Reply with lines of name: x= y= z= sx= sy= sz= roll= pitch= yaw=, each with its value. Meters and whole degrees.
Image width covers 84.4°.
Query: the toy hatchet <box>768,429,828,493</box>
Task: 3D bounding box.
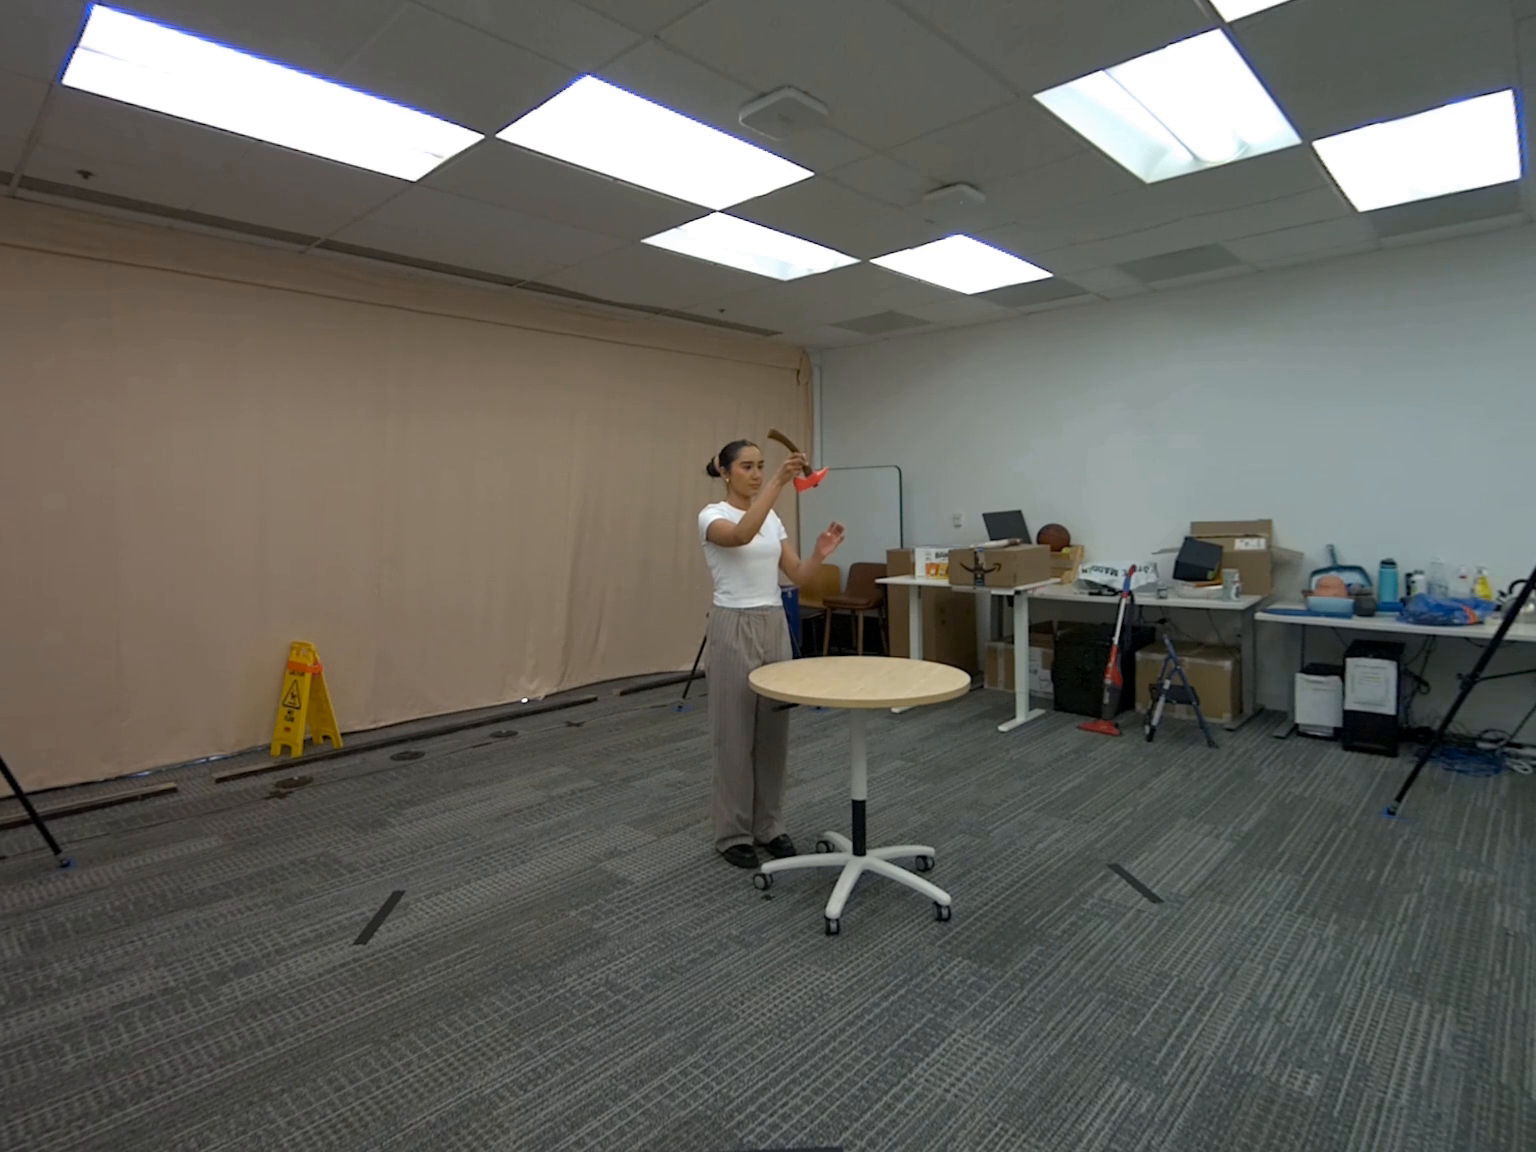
toy hatchet: x=0.081 y=-0.394 z=2.939 sx=0.265 sy=0.131 sz=0.030 roll=35 pitch=11 yaw=-15
